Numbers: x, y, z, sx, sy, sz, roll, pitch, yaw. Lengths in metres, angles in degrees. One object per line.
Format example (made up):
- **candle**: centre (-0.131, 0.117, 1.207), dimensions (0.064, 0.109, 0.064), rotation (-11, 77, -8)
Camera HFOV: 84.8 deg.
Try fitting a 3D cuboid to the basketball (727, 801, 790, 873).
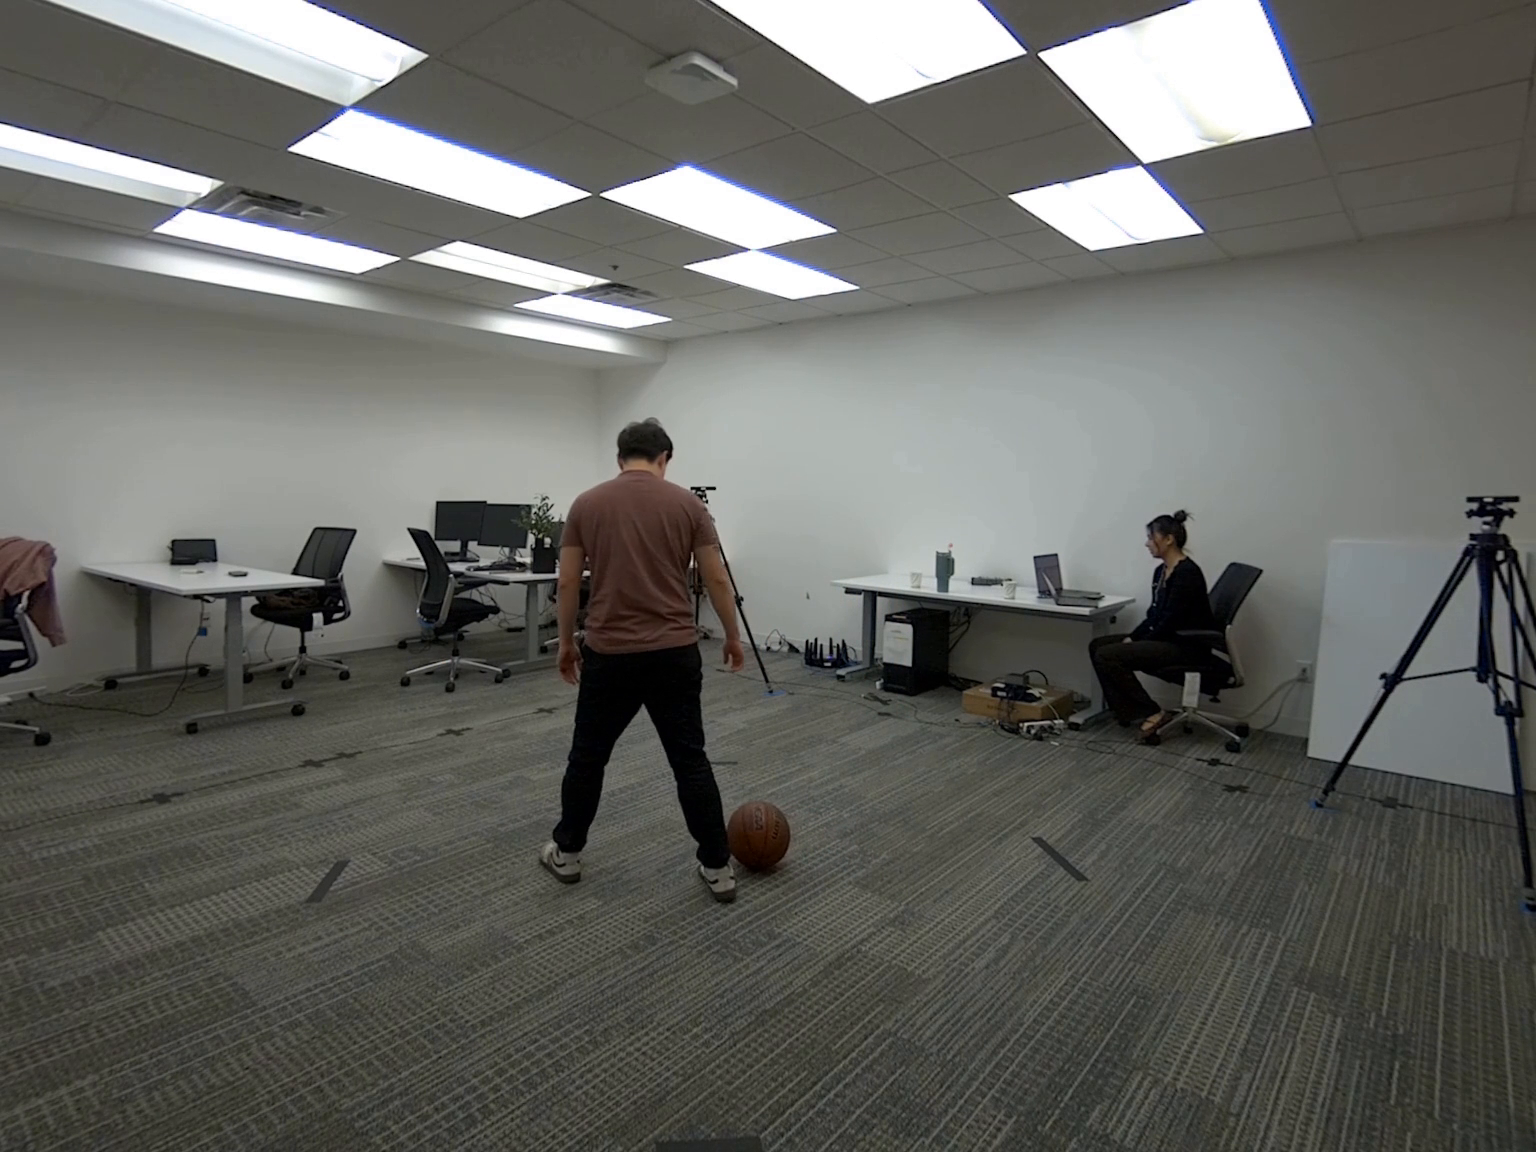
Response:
- **basketball**: centre (-0.043, 0.951, 3.122), dimensions (0.235, 0.235, 0.237), rotation (1, 4, -2)
